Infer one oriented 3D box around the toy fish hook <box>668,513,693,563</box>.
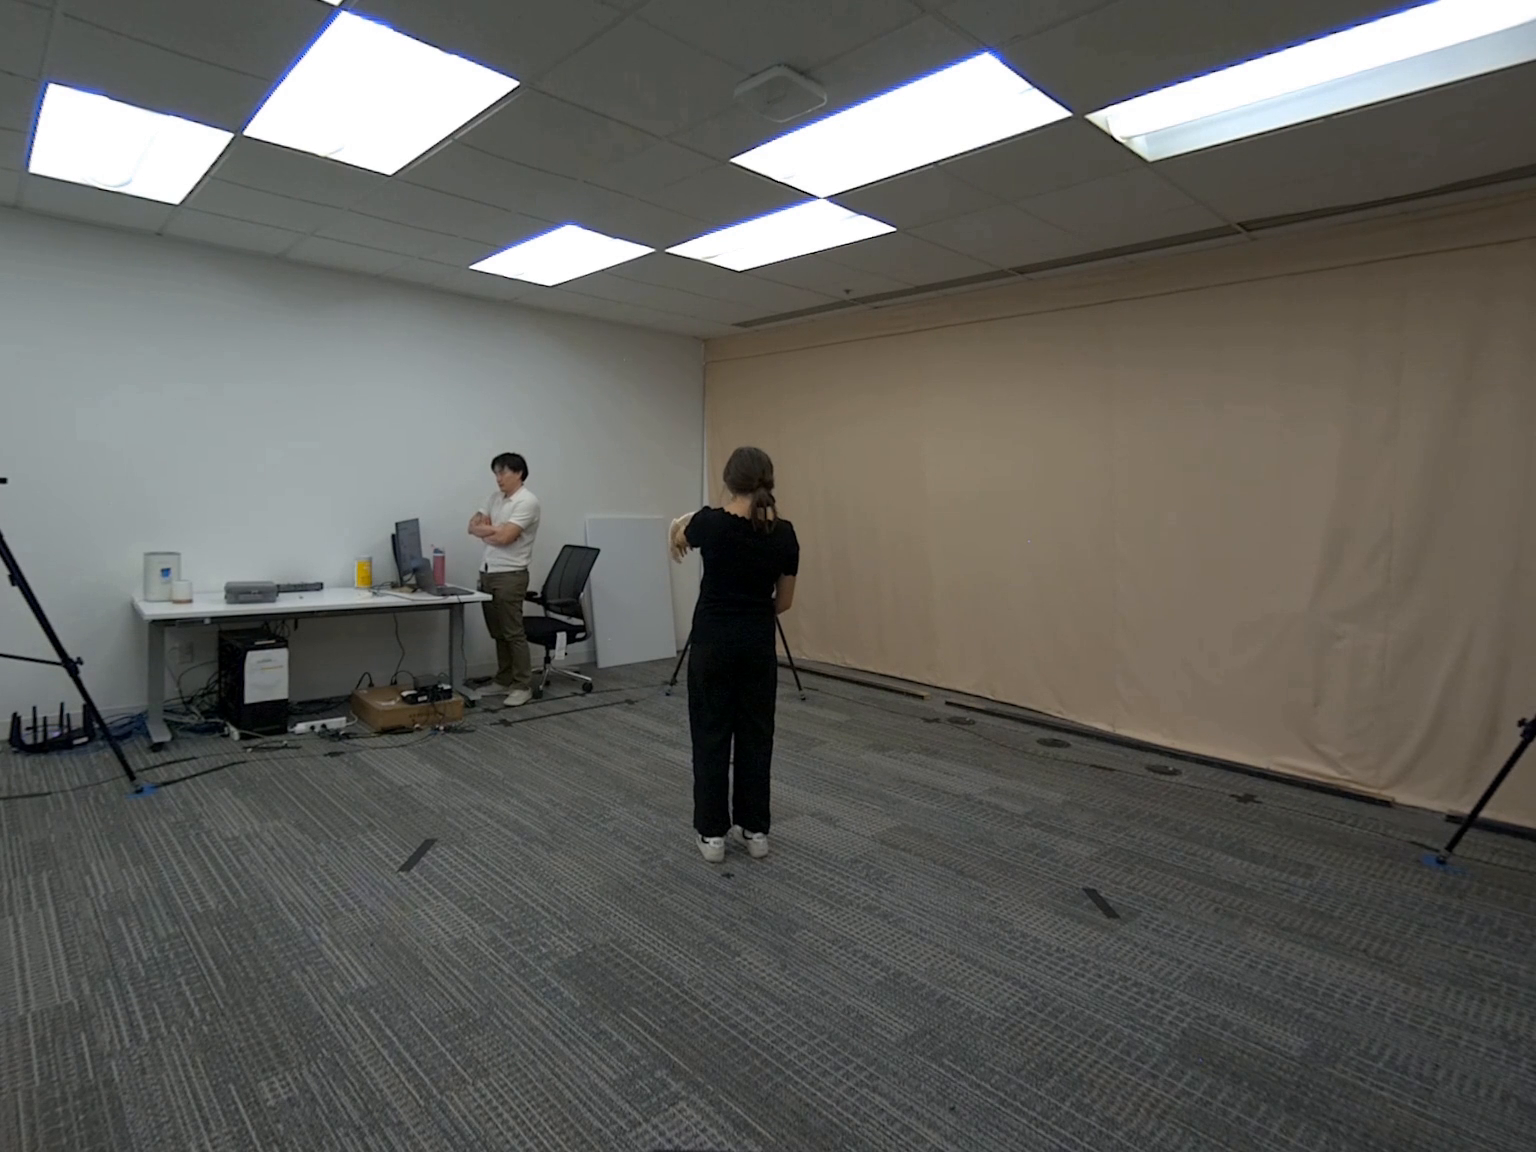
[{"bbox_3d":[-0.294,-0.021,3.687,0.224,0.499,0.049,-18,16,0],"label":"toy fish hook"}]
